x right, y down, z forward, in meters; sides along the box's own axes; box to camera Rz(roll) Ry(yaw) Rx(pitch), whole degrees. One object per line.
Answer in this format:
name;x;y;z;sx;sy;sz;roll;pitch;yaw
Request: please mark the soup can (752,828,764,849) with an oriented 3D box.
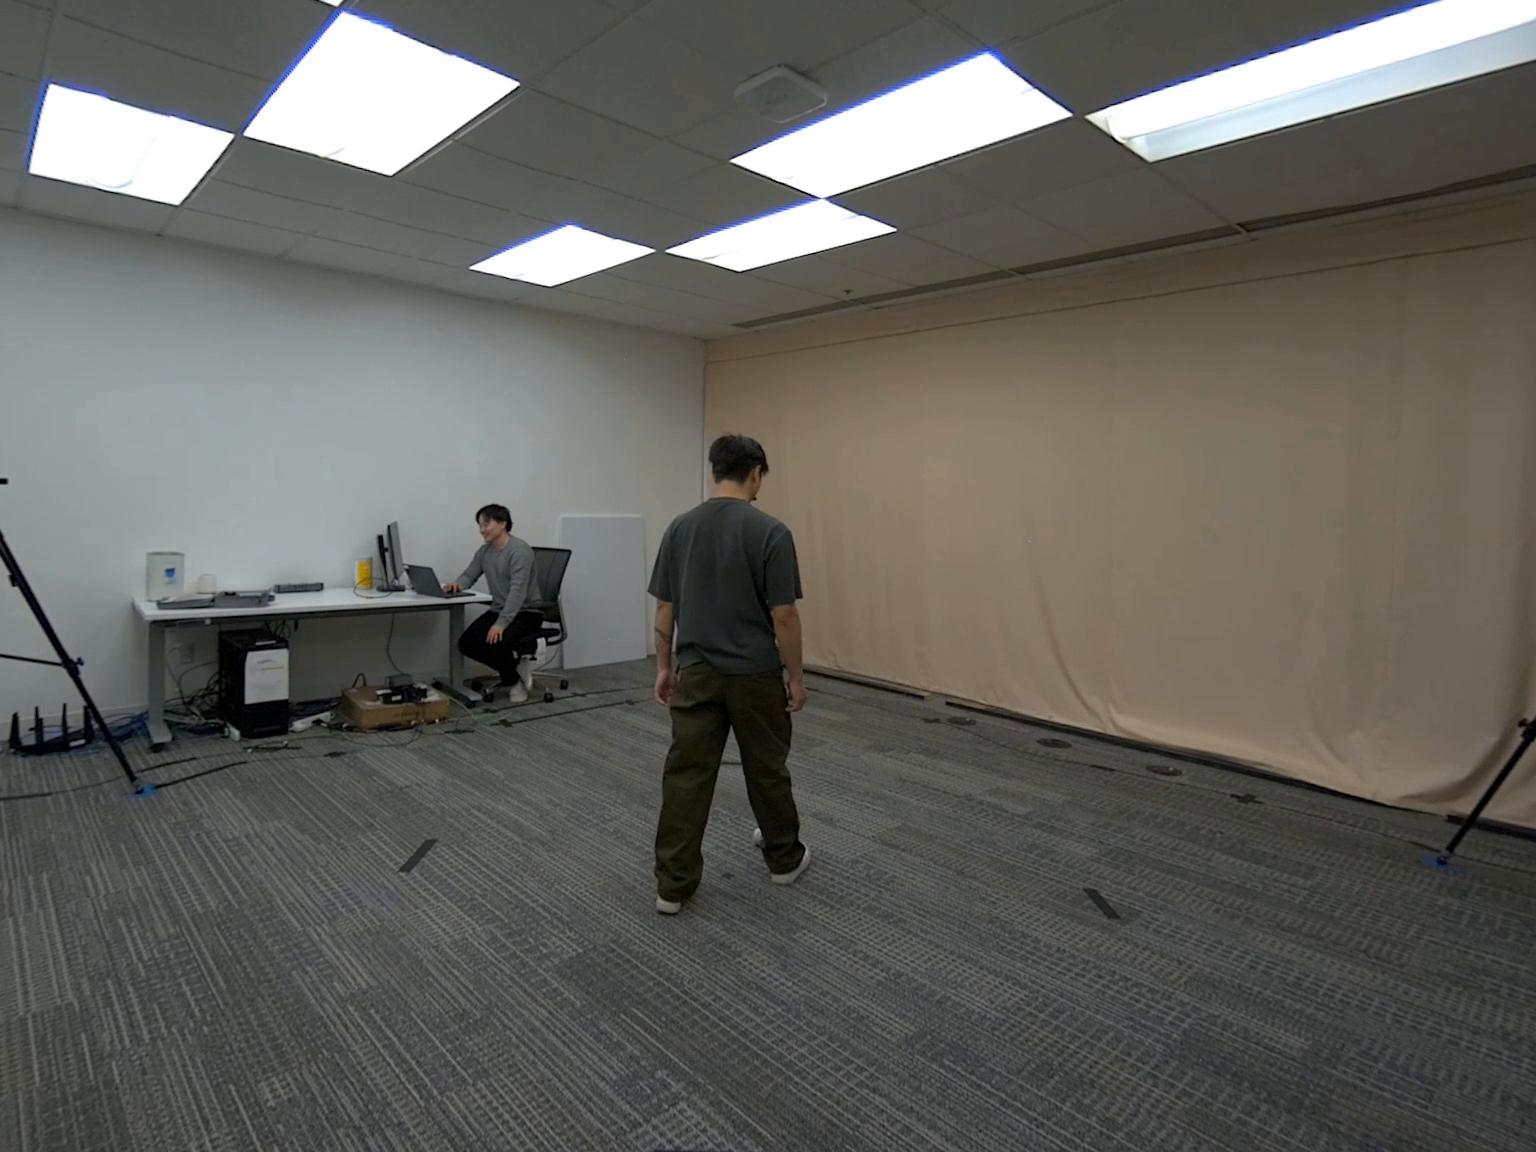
soup can;0.000;1.054;3.369;0.123;0.067;0.066;8;6;17
